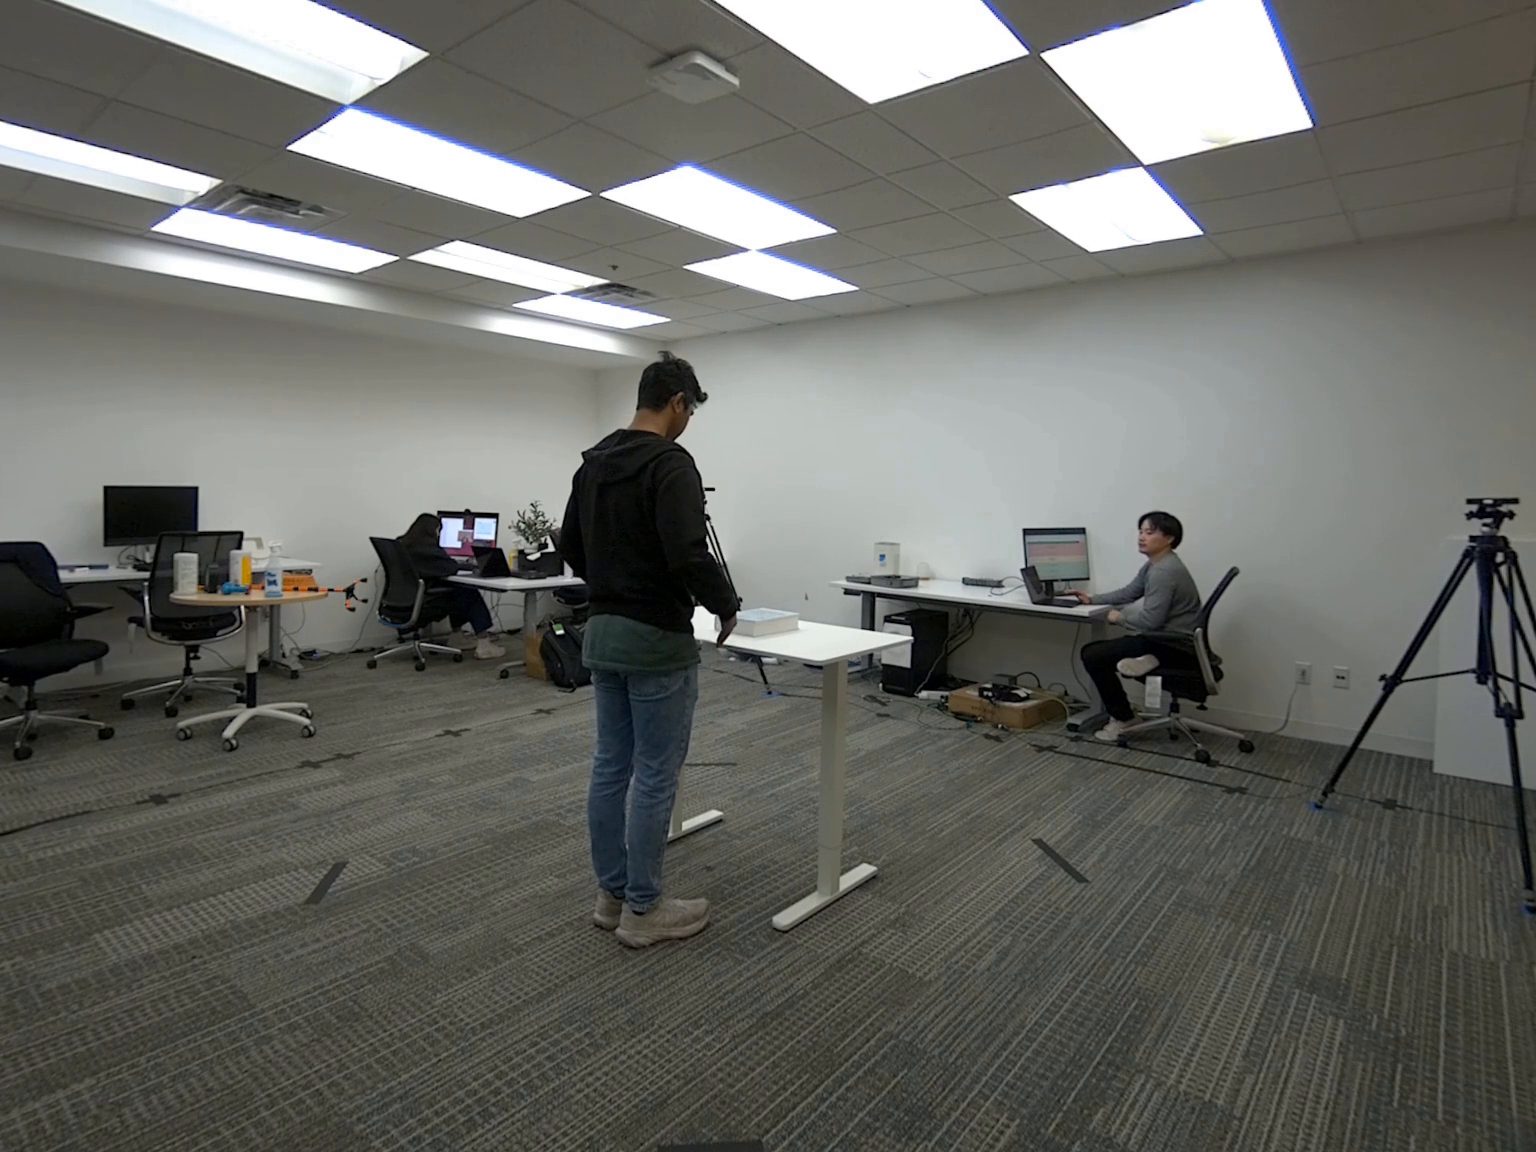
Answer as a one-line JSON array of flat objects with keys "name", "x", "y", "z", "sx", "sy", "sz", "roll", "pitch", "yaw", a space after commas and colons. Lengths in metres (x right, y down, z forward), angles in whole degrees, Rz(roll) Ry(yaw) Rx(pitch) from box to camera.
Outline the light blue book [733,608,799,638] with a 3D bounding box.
[{"name": "light blue book", "x": -0.036, "y": 0.165, "z": 3.068, "sx": 0.198, "sy": 0.059, "sz": 0.253, "roll": 5, "pitch": 7, "yaw": 38}]
